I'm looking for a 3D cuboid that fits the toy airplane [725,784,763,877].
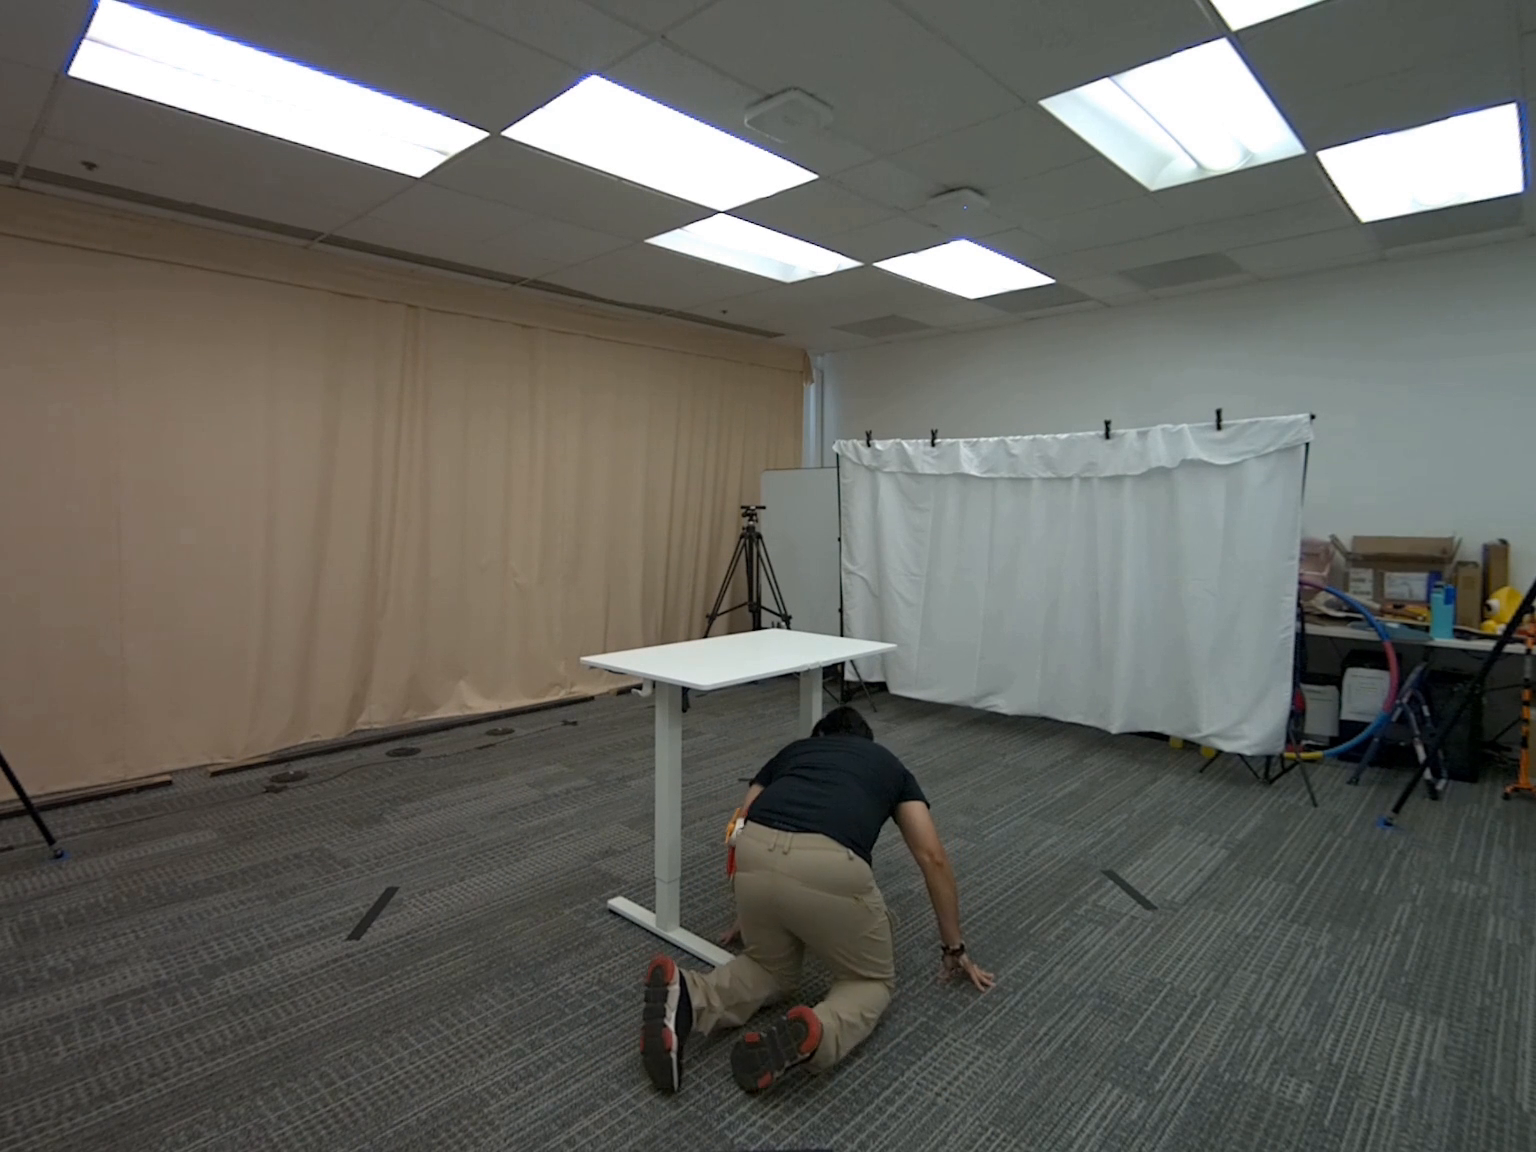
[{"bbox_3d":[-0.006,0.798,2.502,0.258,0.250,0.158,41,-27,-5],"label":"toy airplane"}]
